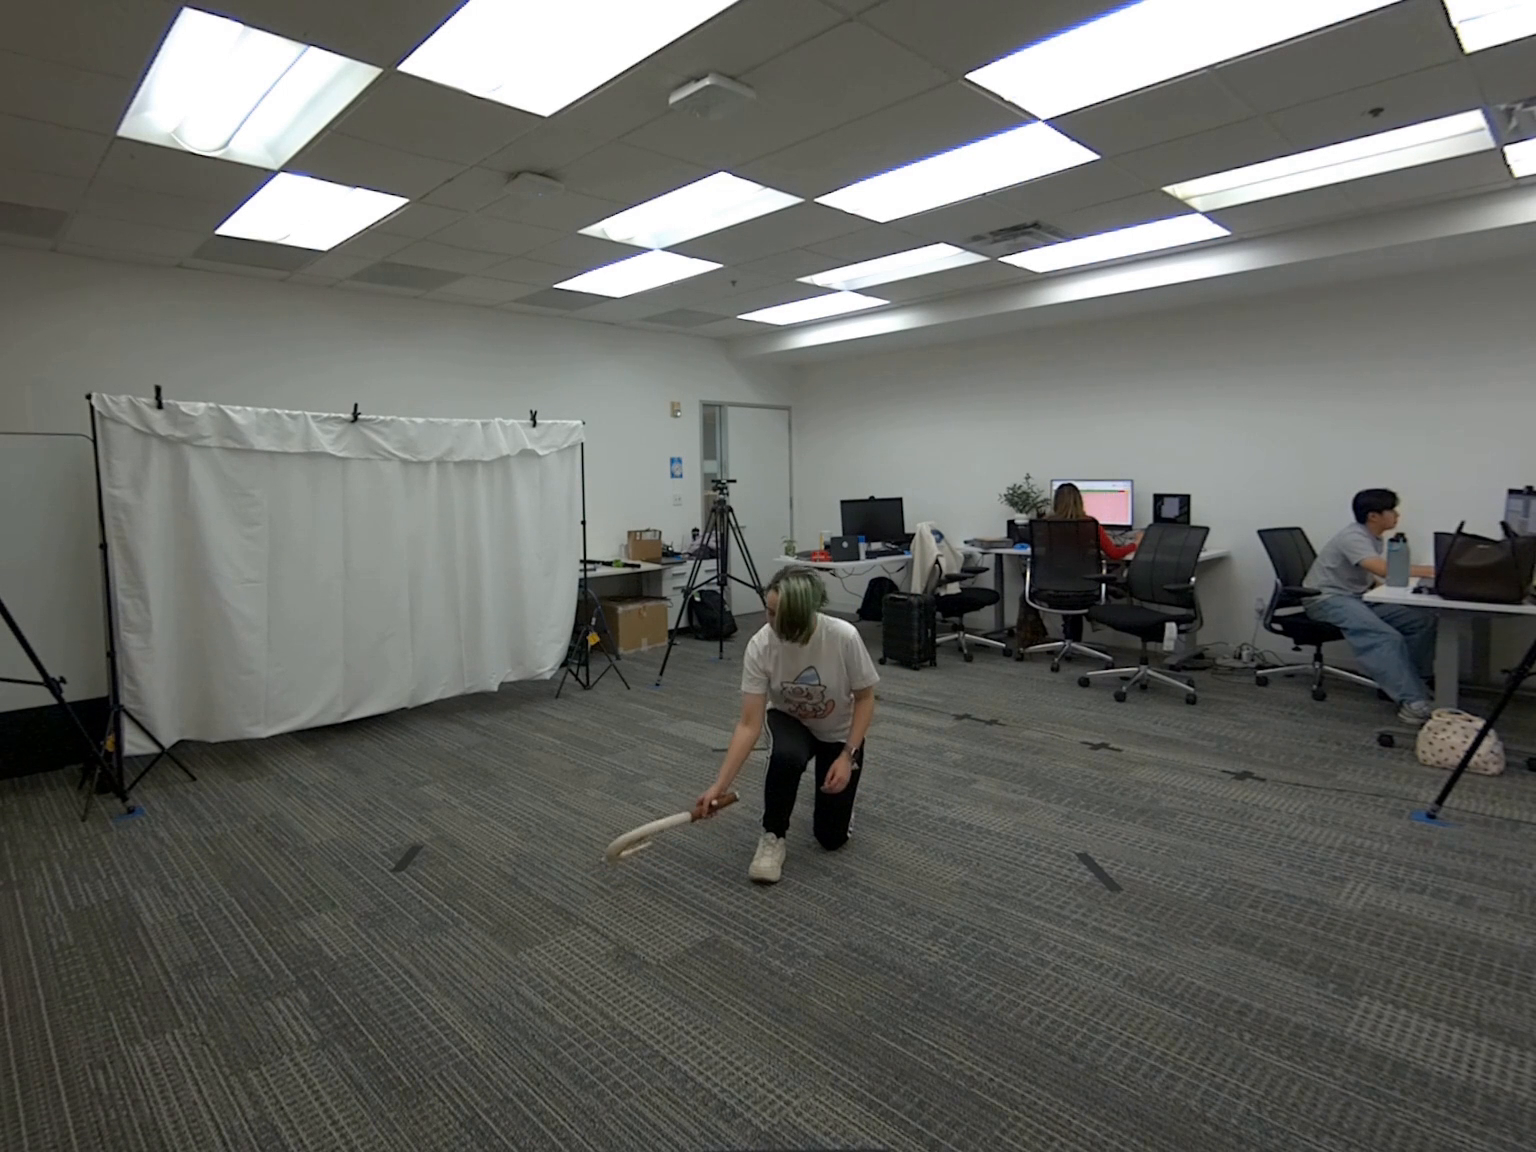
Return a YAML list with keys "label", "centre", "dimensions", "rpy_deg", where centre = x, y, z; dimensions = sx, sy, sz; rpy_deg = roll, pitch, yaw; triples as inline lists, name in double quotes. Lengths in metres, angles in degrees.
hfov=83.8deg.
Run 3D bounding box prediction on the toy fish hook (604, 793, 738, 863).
- label: "toy fish hook"
  centre: [-0.341, 0.855, 2.898]
  dimensions: [0.497, 0.050, 0.223]
  rpy_deg: [-12, -26, -30]
